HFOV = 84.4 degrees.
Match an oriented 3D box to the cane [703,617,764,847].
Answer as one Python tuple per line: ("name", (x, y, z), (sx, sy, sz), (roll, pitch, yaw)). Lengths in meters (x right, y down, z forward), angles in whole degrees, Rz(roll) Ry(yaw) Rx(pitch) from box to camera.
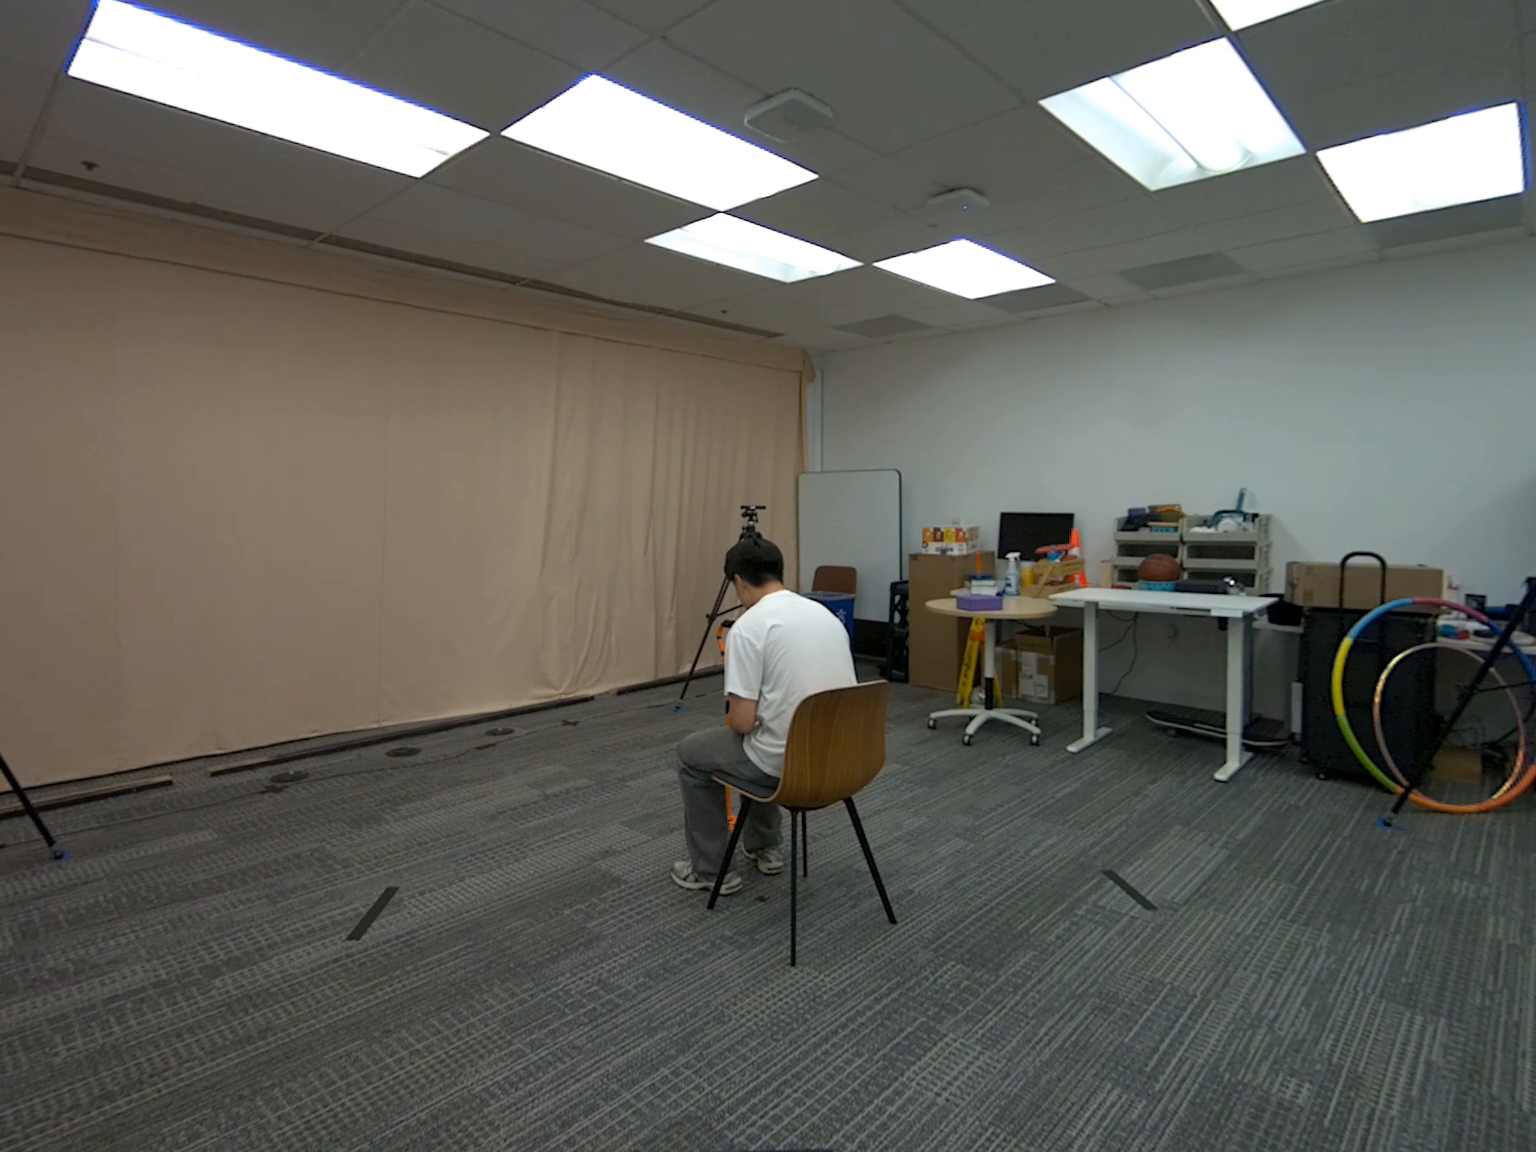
("cane", (-0.148, 0.641, 3.569), (0.147, 0.906, 0.213), (-2, 3, -39))
